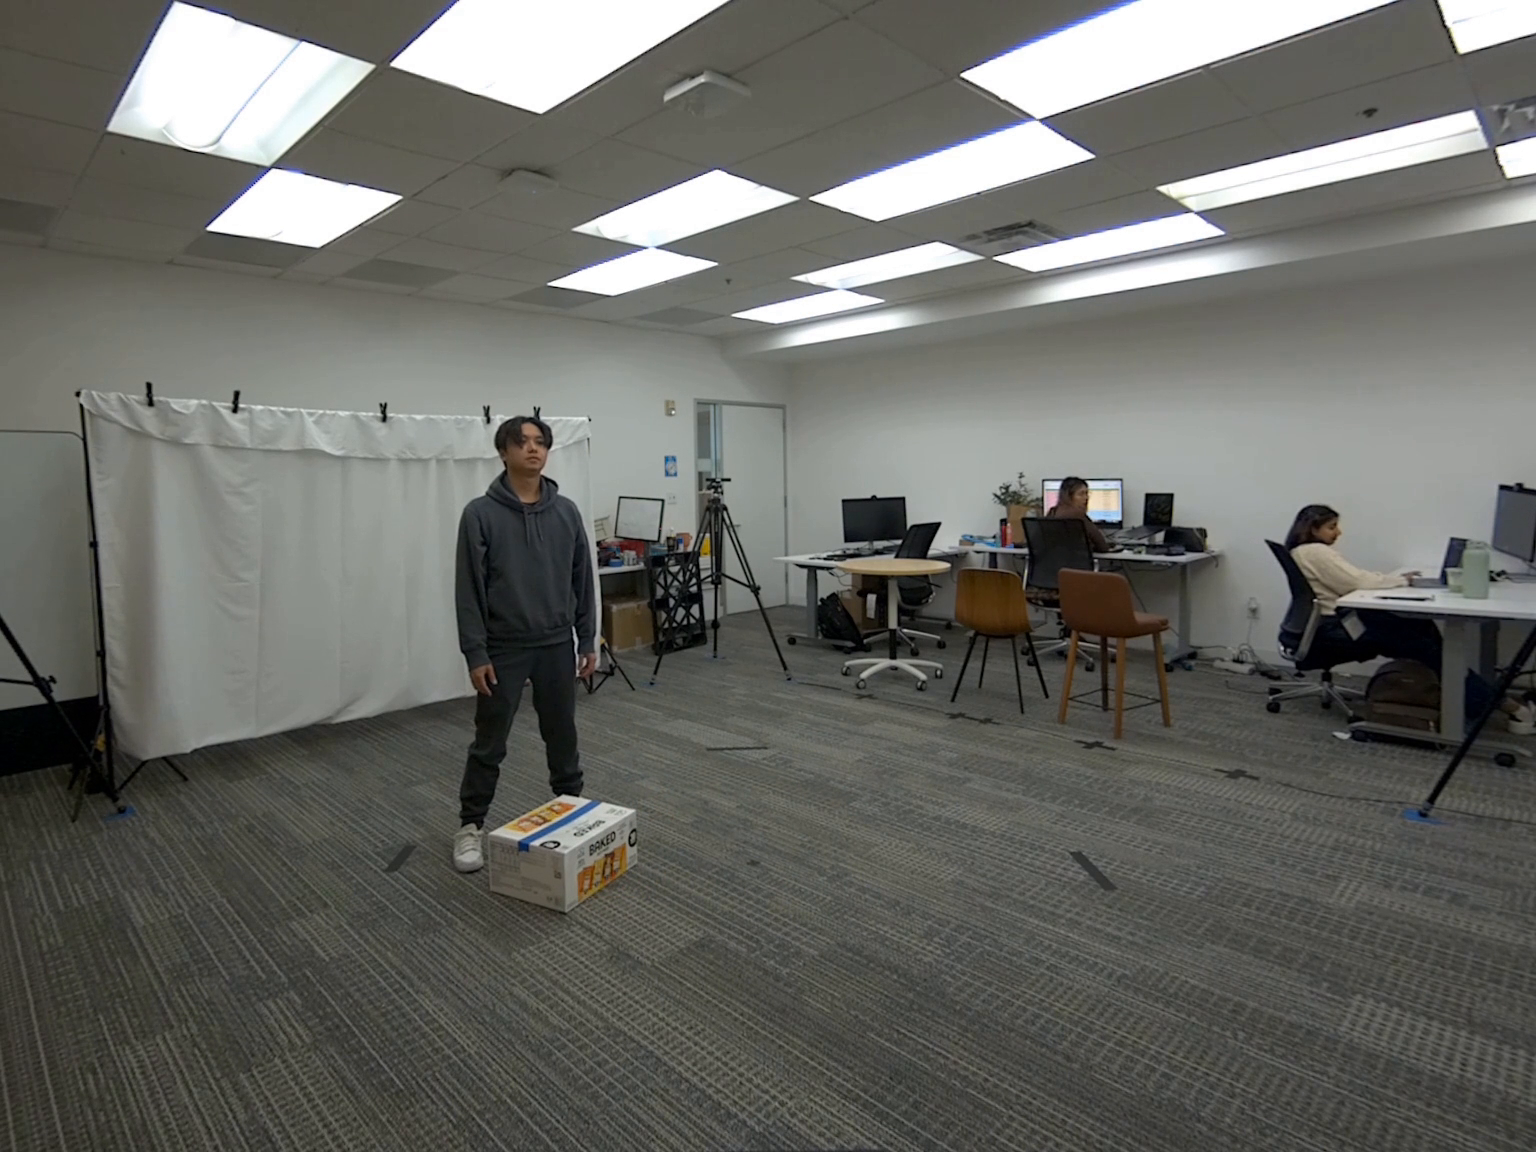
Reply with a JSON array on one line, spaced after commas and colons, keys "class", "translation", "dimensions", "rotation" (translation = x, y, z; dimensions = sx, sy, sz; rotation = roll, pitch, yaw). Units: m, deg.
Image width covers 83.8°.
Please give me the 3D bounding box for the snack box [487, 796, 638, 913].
[{"class": "snack box", "translation": [-0.713, 0.964, 3.012], "dimensions": [0.349, 0.205, 0.397], "rotation": [2, 7, 28]}]
